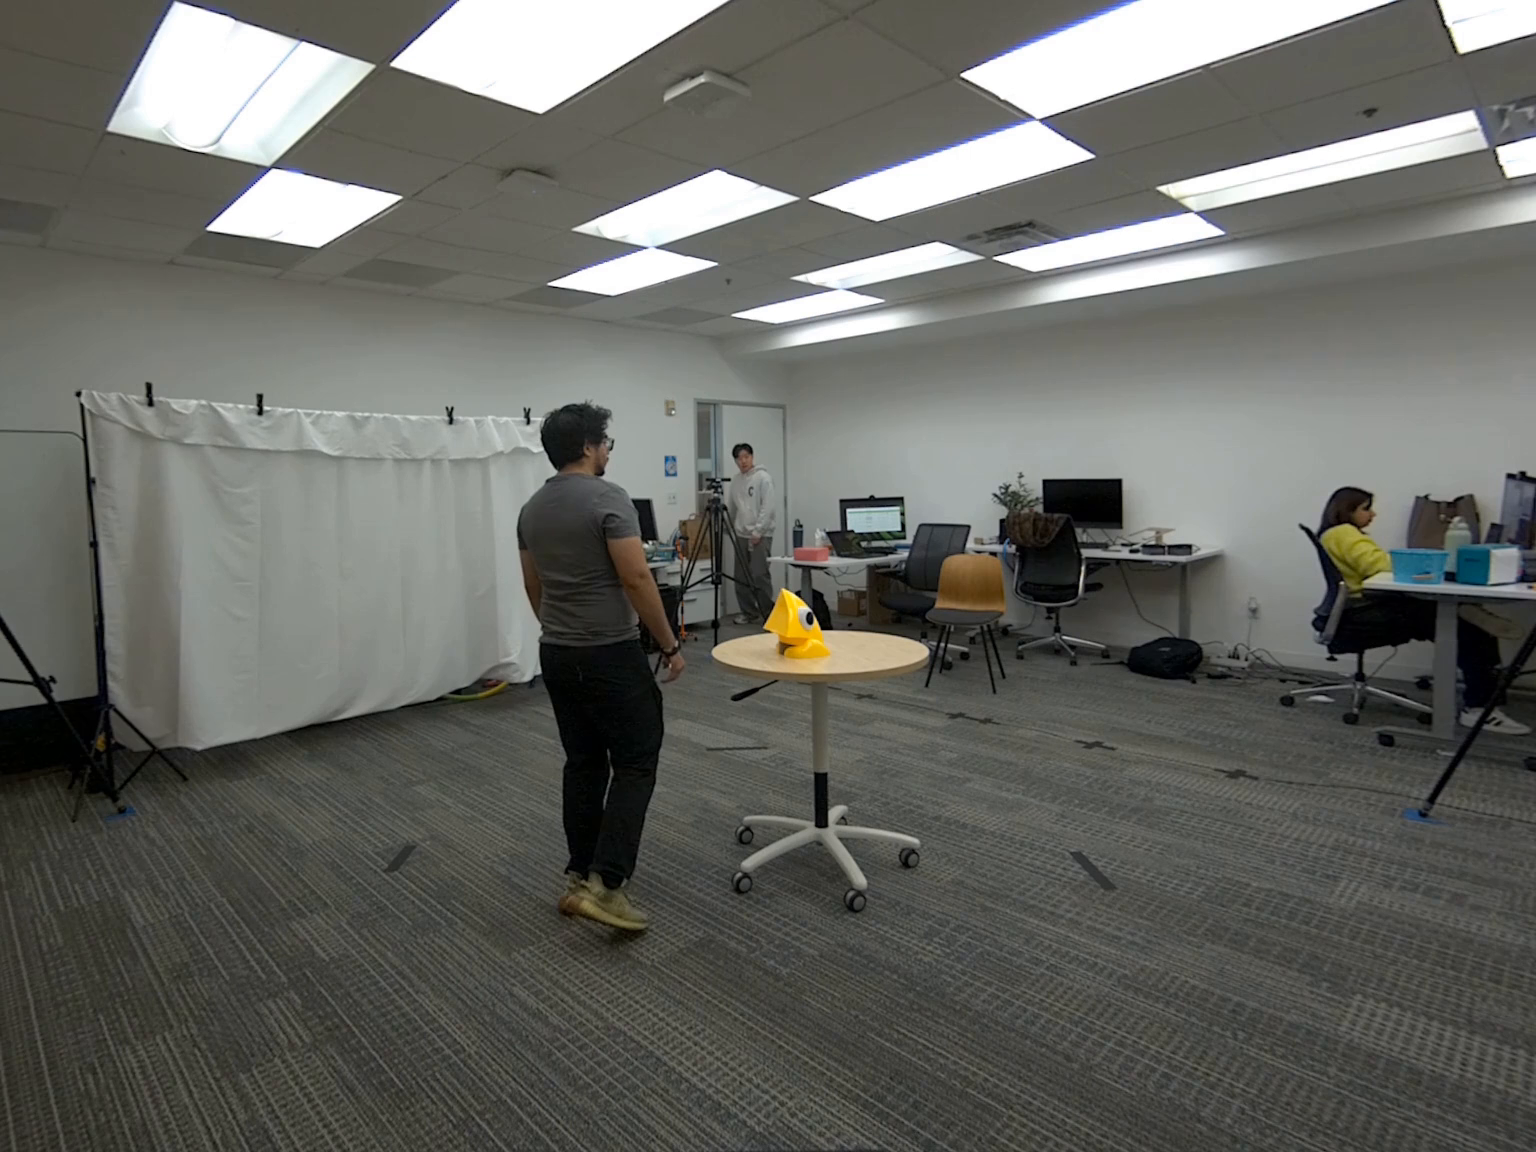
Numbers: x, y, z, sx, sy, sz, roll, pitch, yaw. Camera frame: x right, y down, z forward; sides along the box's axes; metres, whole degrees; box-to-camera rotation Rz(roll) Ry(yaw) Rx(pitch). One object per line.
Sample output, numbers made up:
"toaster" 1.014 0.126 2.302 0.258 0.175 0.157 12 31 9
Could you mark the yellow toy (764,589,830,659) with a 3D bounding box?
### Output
"yellow toy" 0.101 0.155 2.990 0.189 0.230 0.209 -3 5 -23
